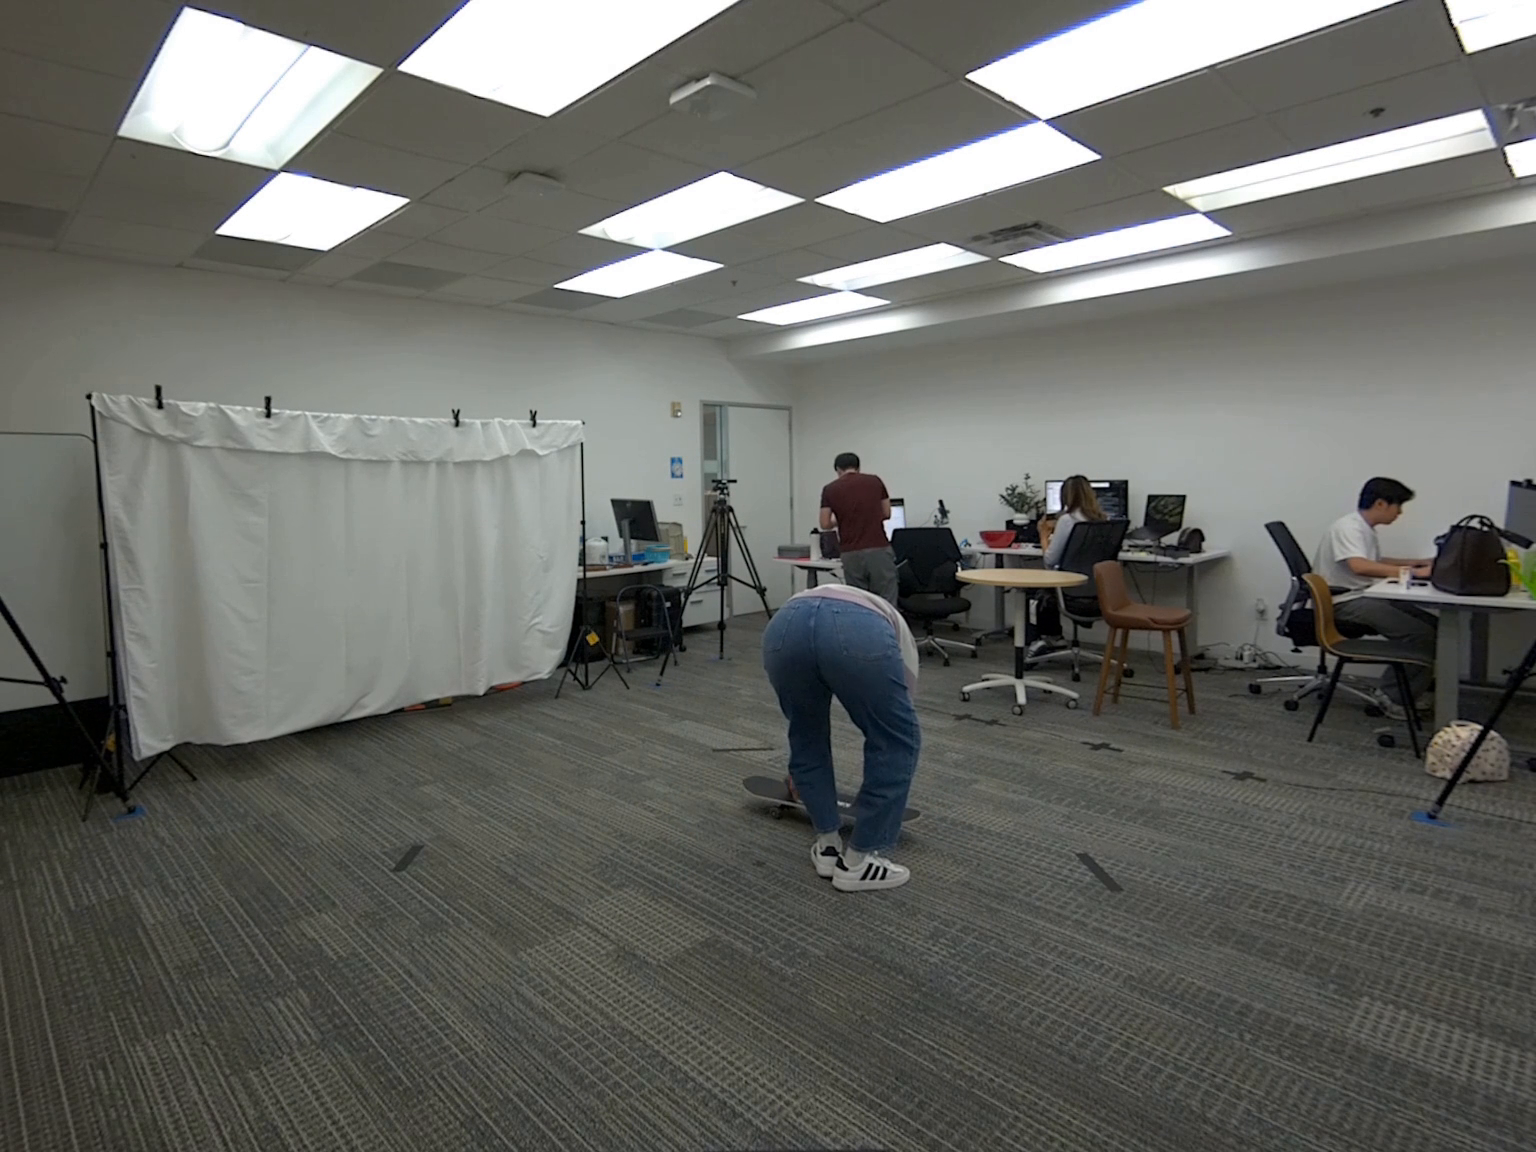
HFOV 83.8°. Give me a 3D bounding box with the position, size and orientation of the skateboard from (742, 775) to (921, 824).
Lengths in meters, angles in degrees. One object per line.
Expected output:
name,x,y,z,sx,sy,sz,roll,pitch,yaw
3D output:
skateboard,0.244,0.949,3.471,0.808,0.110,0.189,4,8,33
